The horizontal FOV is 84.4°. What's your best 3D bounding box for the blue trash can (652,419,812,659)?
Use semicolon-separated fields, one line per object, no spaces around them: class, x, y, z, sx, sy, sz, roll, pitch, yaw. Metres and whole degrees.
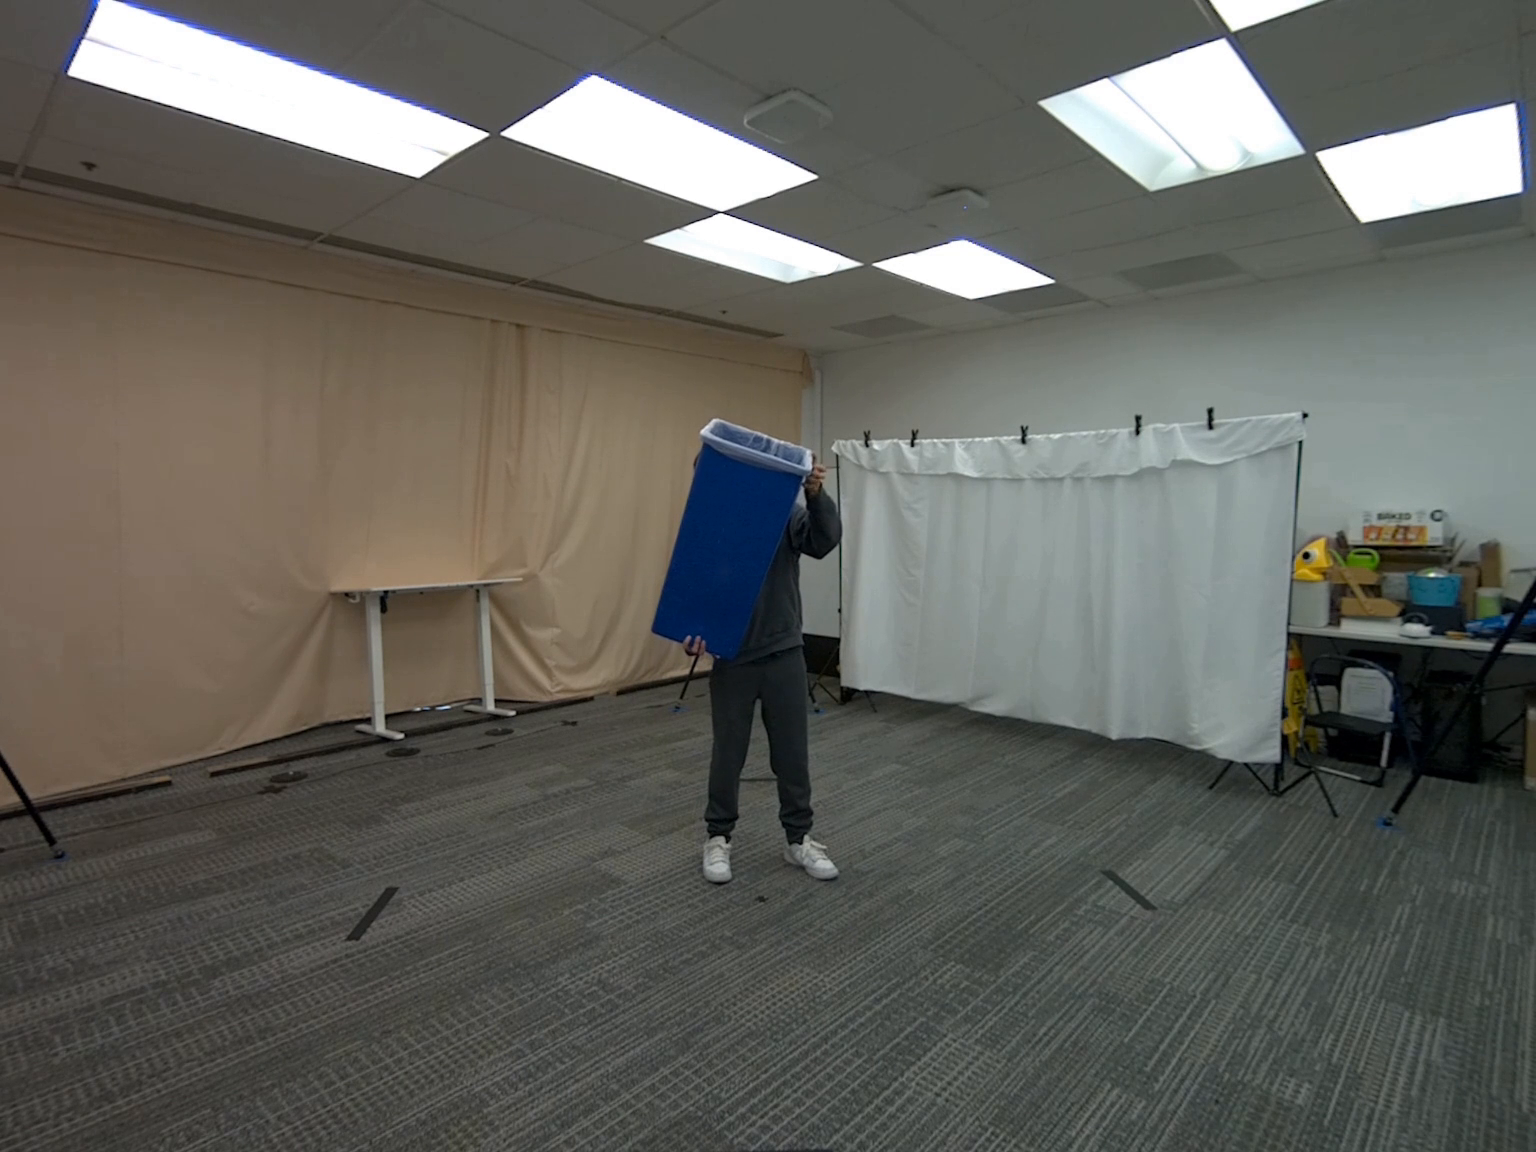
blue trash can;-0.133;-0.130;2.888;0.379;0.710;0.375;18;15;0
